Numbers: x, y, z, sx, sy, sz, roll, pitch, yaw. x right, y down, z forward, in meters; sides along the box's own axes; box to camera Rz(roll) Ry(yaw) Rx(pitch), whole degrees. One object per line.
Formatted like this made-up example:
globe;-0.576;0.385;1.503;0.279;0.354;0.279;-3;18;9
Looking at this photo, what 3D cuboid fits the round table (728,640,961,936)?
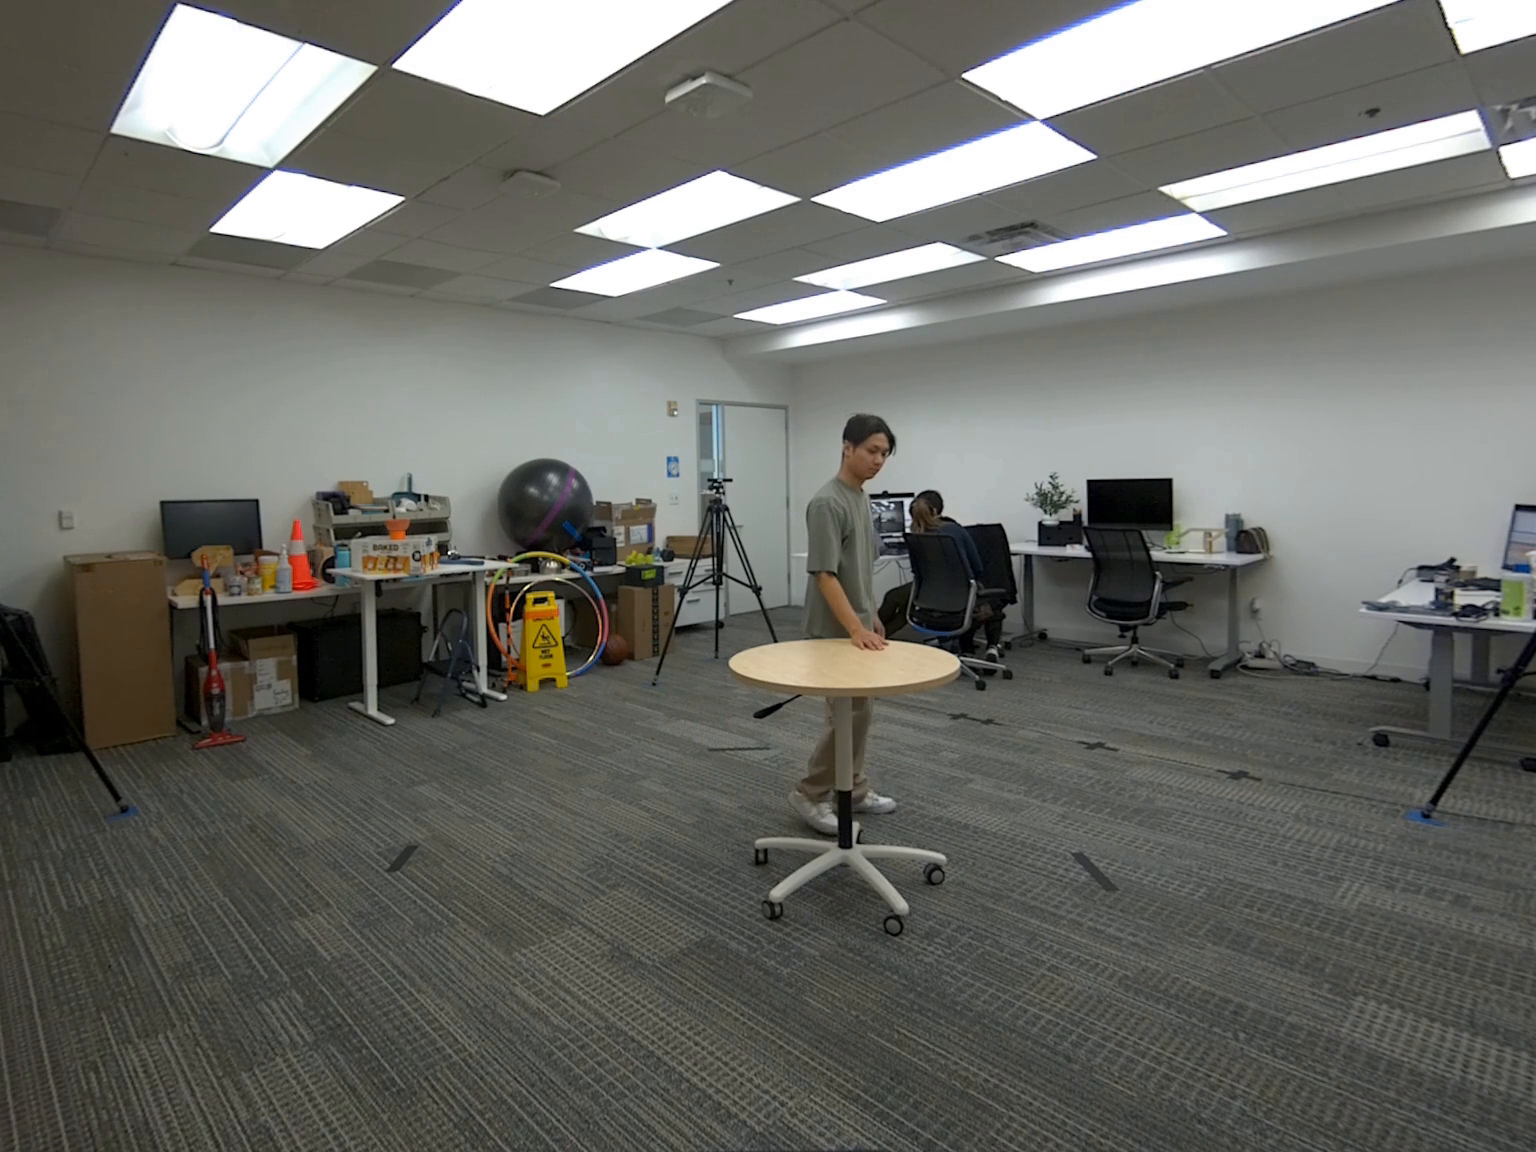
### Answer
round table;0.265;0.679;2.892;0.763;0.791;0.768;-1;5;-2
